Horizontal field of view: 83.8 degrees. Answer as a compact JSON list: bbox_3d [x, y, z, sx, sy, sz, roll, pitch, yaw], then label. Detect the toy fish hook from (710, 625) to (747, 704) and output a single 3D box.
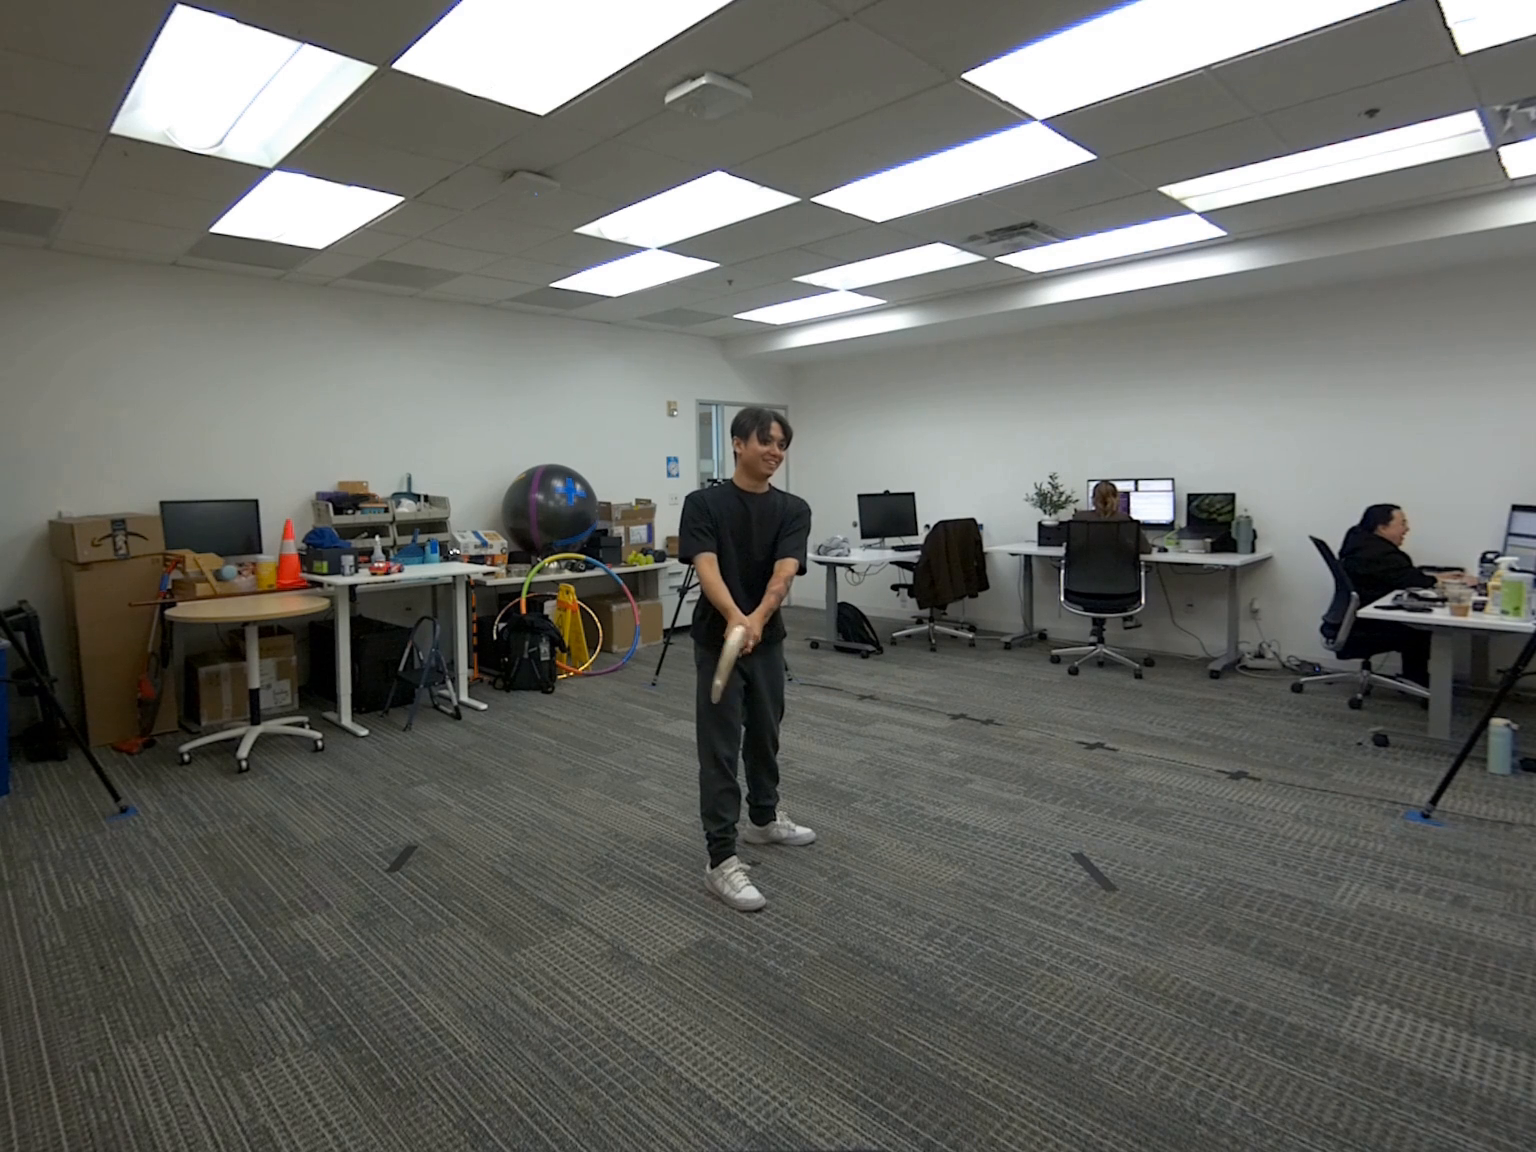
[{"bbox_3d":[-0.093,0.241,2.452,0.049,0.224,0.501,24,1,6],"label":"toy fish hook"}]
